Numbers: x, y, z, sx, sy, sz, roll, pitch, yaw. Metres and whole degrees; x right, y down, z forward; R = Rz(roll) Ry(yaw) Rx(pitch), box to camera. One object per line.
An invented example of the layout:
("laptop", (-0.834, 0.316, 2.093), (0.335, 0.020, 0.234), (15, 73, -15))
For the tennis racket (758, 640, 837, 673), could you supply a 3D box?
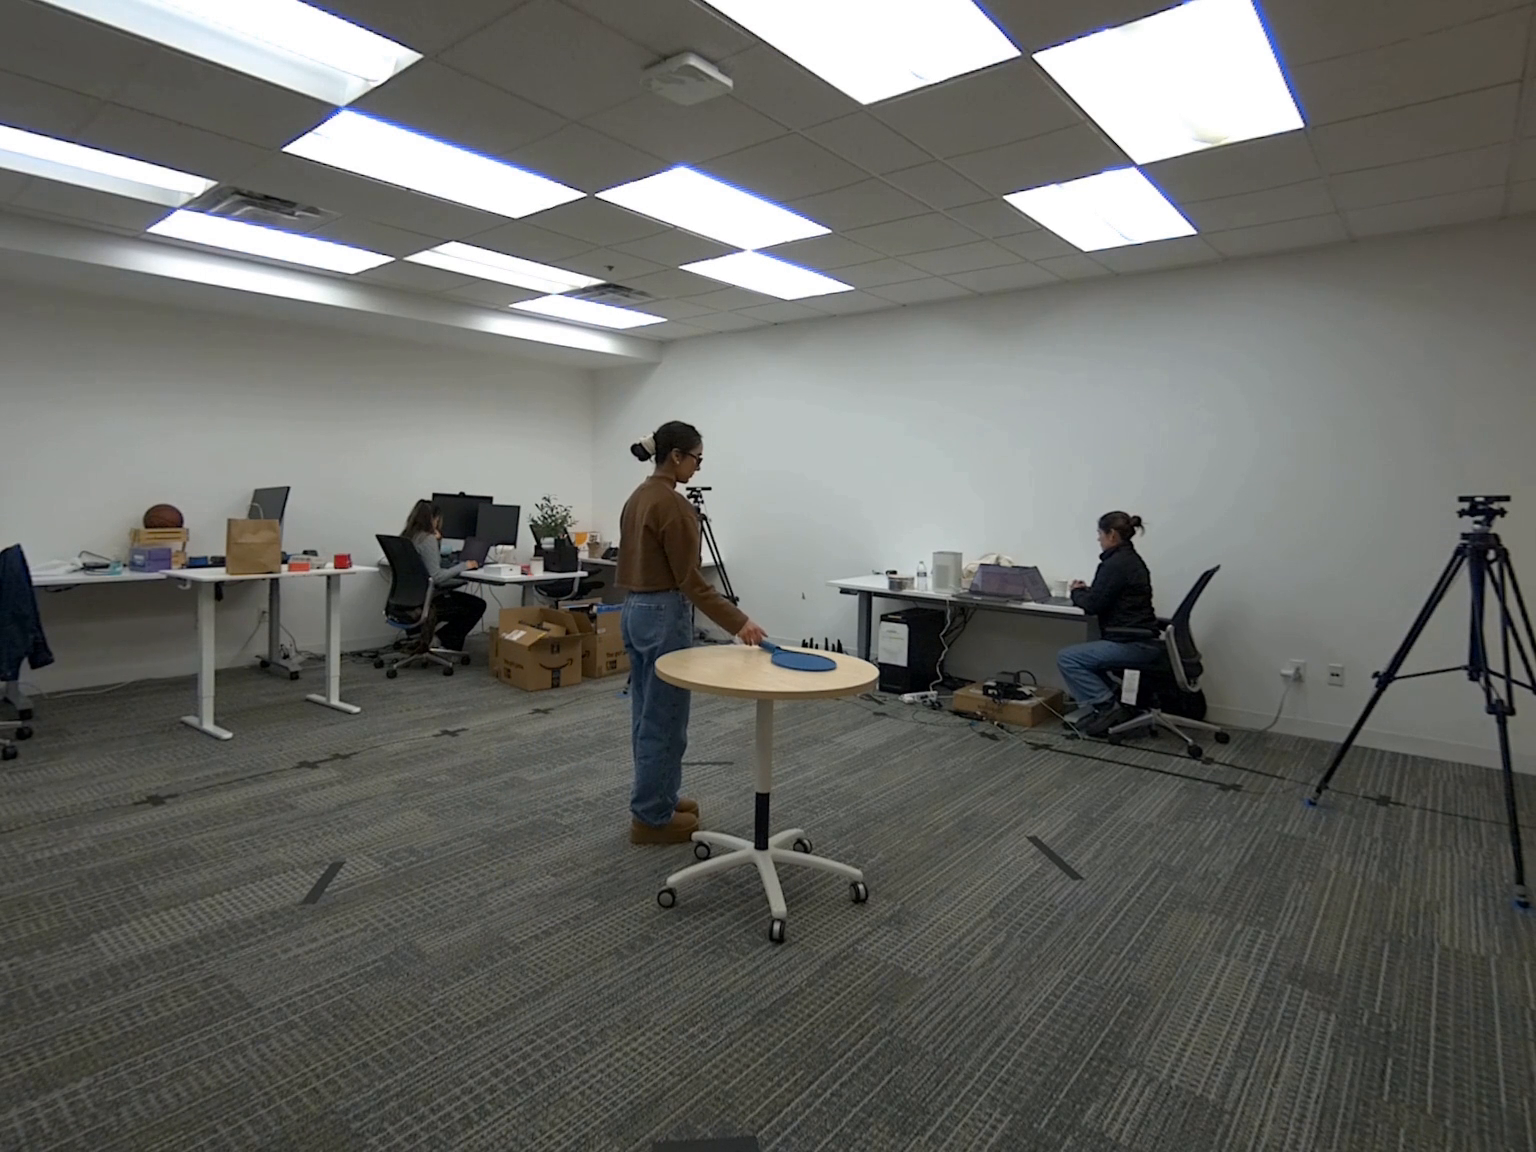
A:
("tennis racket", (0.072, 0.287, 3.039), (0.208, 0.031, 0.447), (-2, 8, -30))
